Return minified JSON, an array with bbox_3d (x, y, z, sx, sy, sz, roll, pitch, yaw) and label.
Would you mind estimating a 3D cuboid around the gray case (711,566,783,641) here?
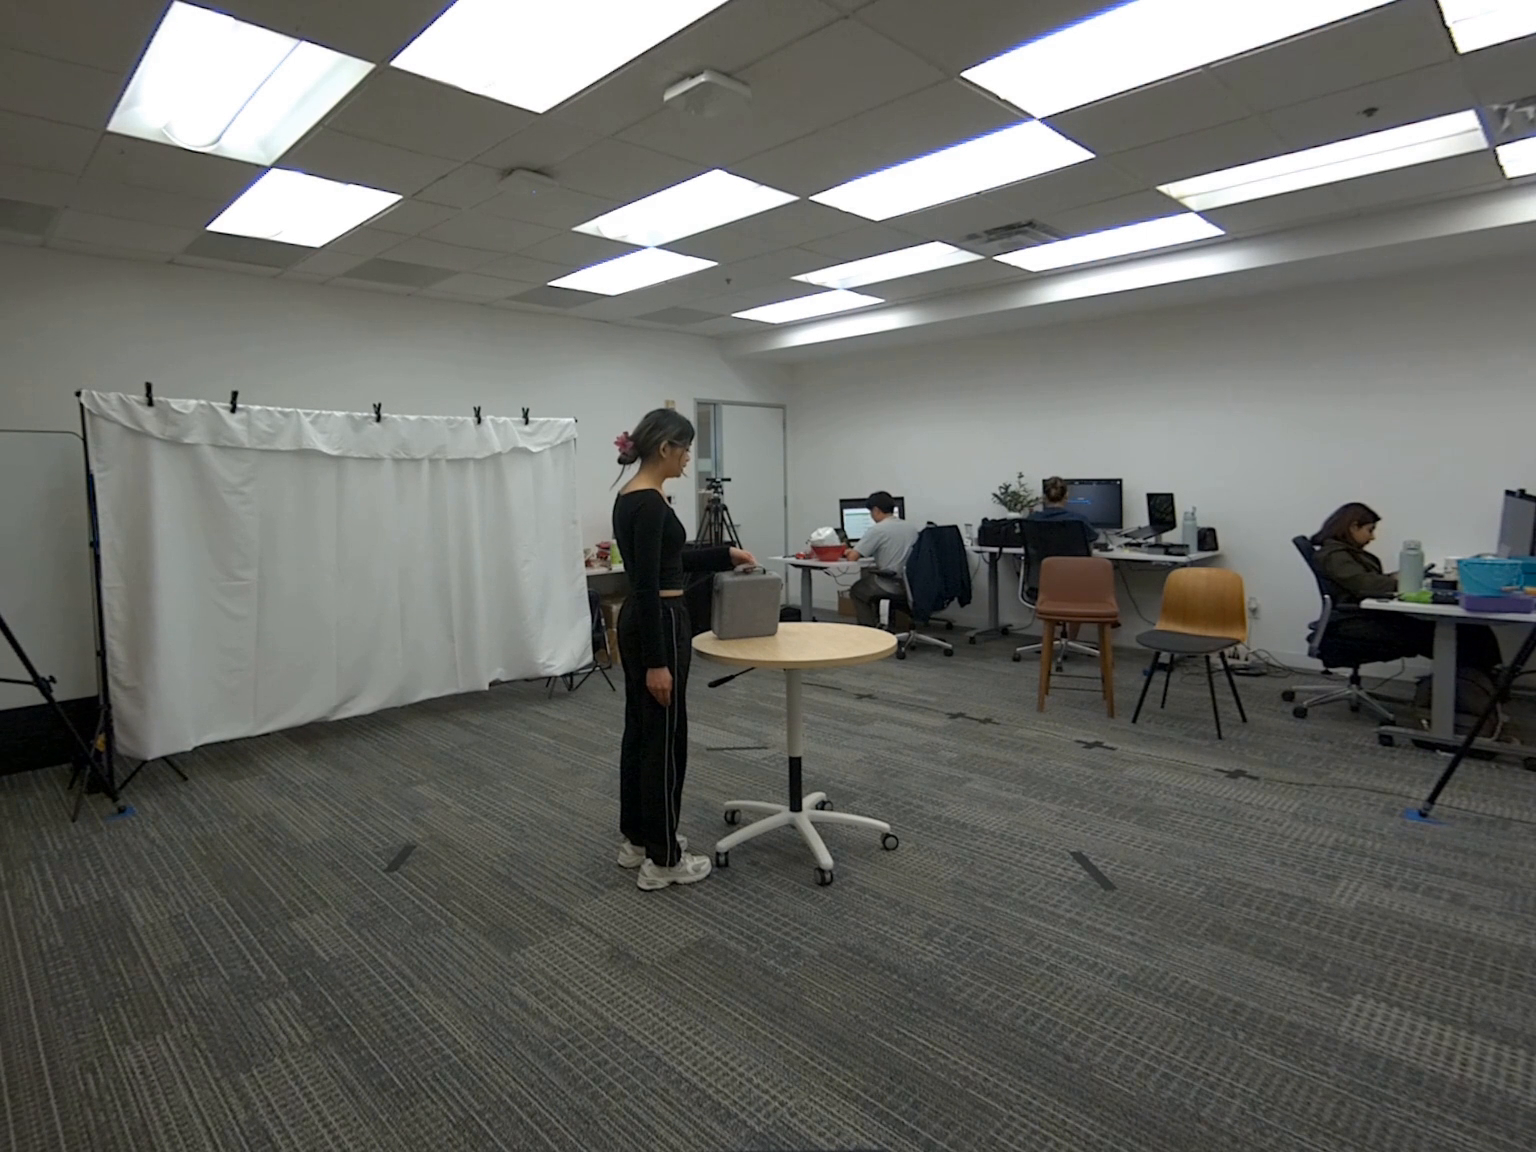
[{"bbox_3d":[-0.080,0.102,3.249,0.252,0.257,0.107,-3,15,-20],"label":"gray case"}]
